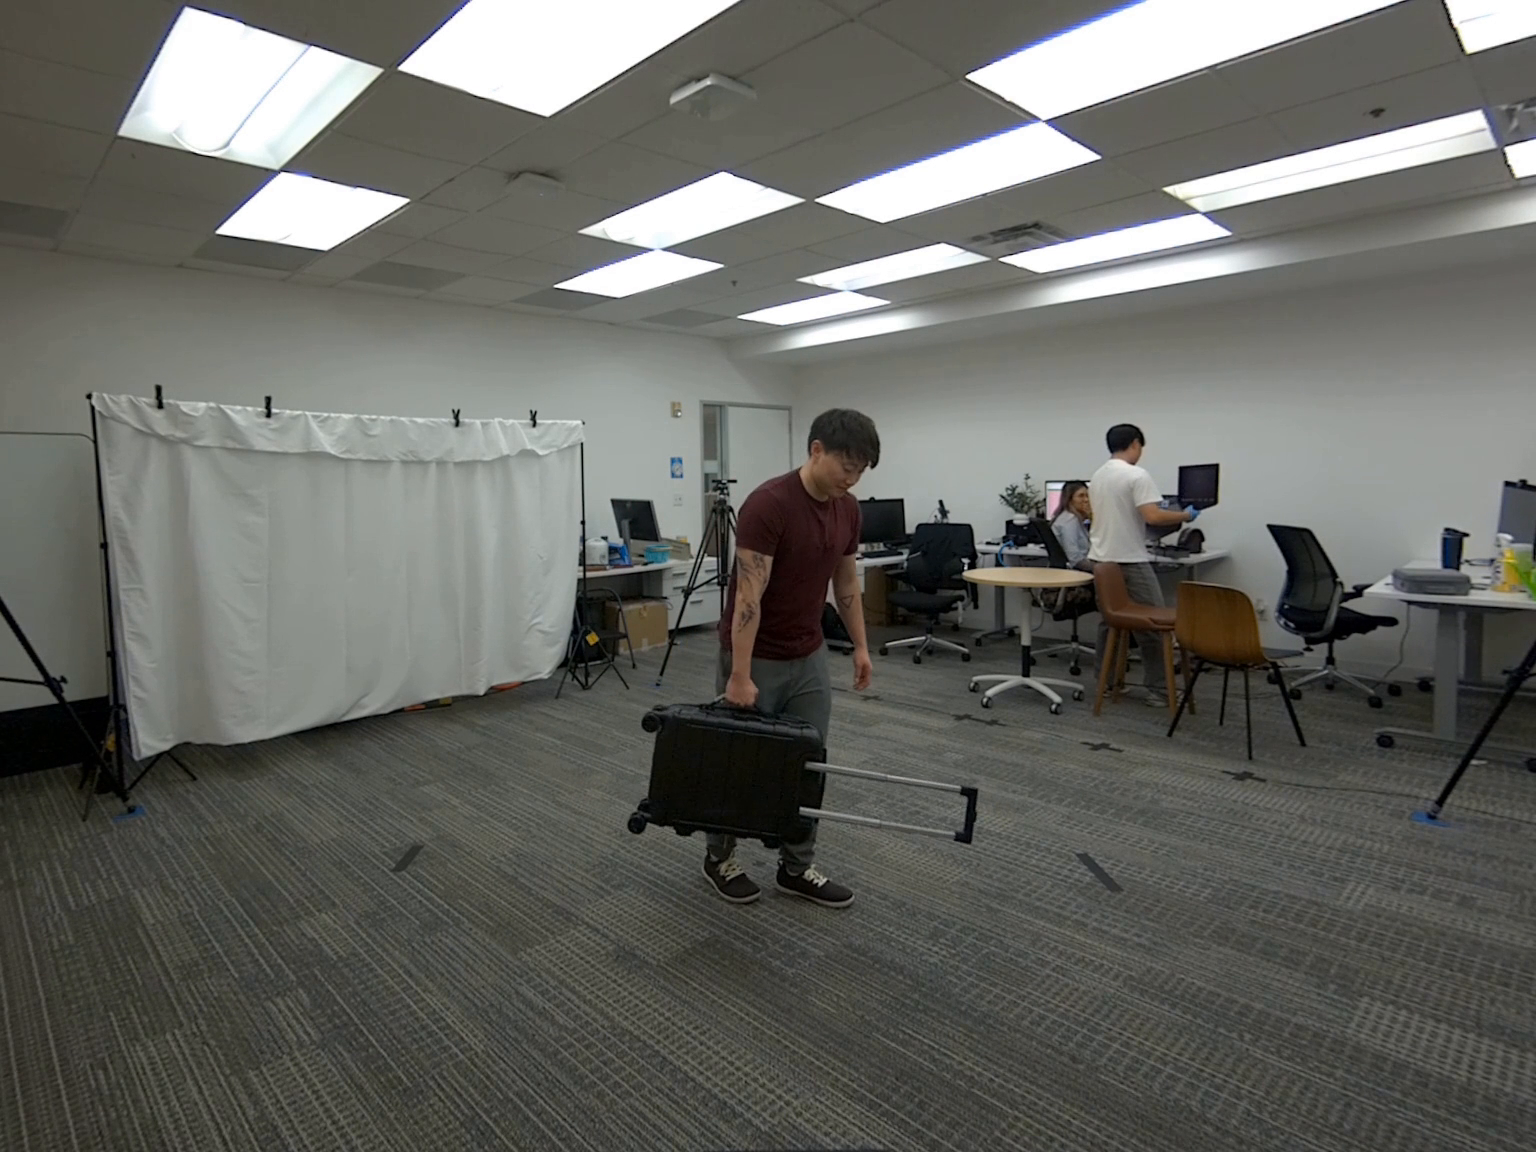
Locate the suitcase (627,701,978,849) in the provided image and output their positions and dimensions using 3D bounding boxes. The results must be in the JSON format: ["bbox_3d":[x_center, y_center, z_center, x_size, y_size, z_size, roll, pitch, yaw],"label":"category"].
[{"bbox_3d":[0.100,0.607,2.559,0.979,0.385,0.256,6,-4,1],"label":"suitcase"}]
